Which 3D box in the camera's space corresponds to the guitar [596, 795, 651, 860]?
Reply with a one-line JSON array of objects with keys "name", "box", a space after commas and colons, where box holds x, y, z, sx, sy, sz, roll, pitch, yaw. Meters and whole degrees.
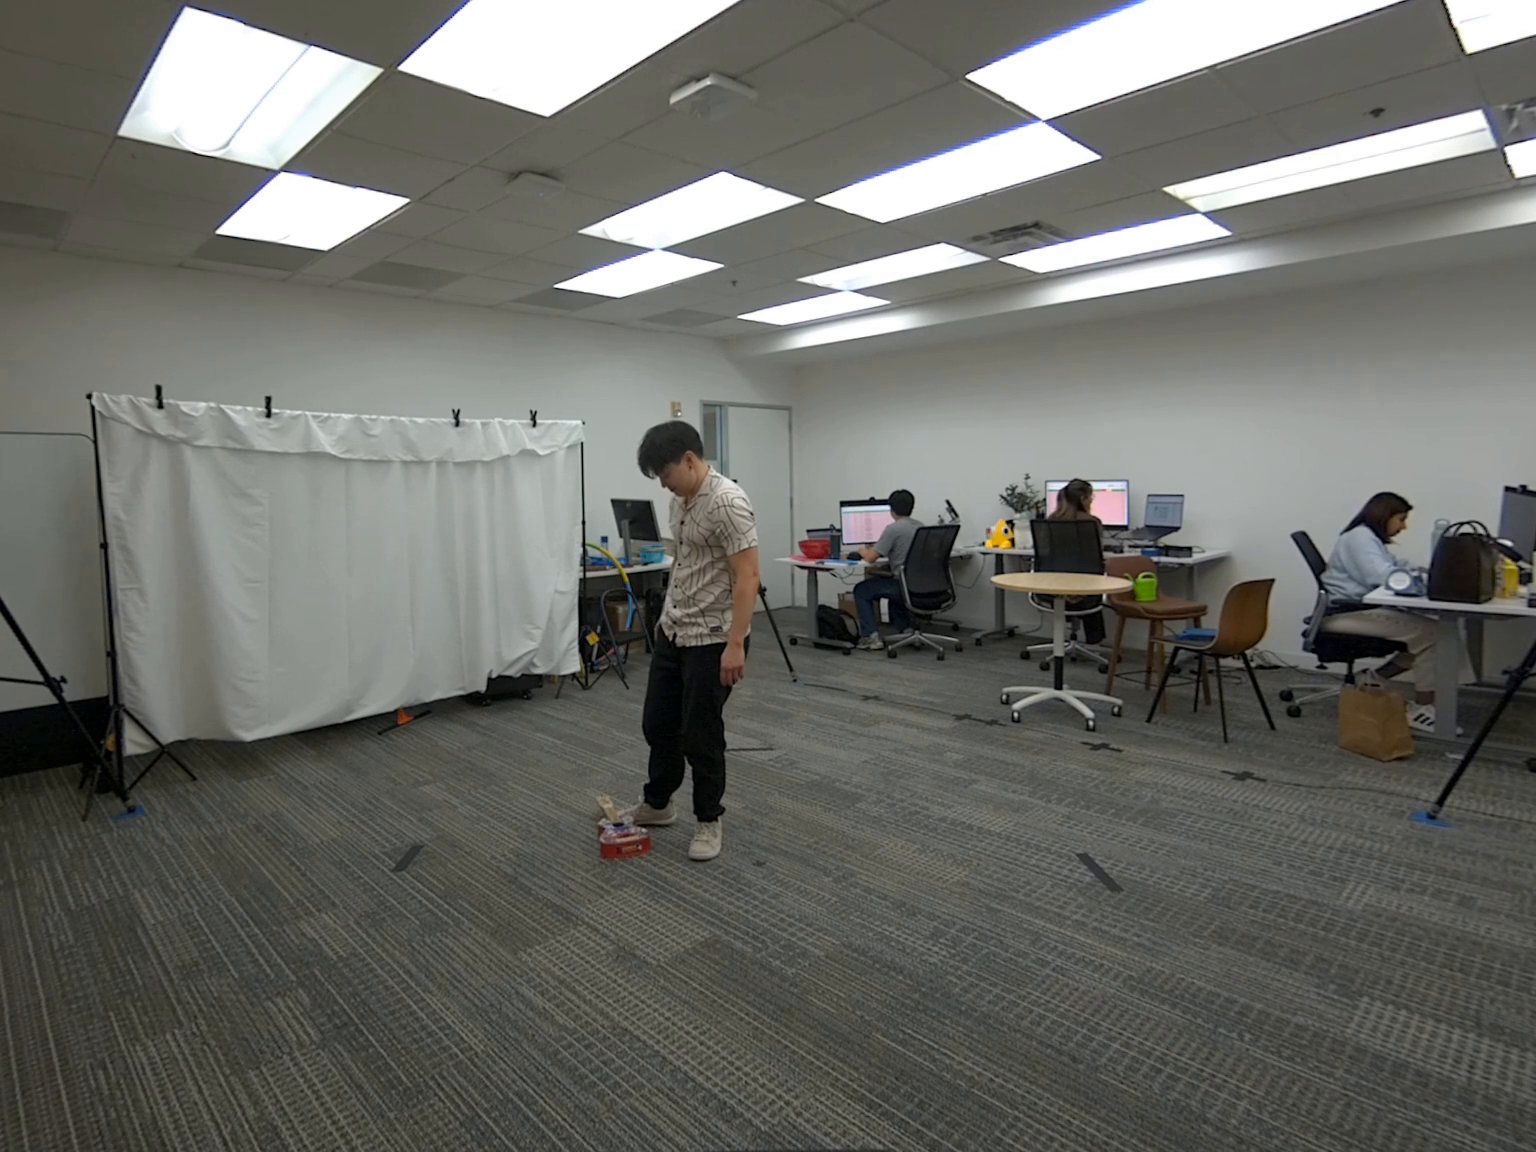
[{"name": "guitar", "box": [-0.580, 0.991, 3.414, 0.191, 0.070, 0.506, -4, 7, -13]}]
